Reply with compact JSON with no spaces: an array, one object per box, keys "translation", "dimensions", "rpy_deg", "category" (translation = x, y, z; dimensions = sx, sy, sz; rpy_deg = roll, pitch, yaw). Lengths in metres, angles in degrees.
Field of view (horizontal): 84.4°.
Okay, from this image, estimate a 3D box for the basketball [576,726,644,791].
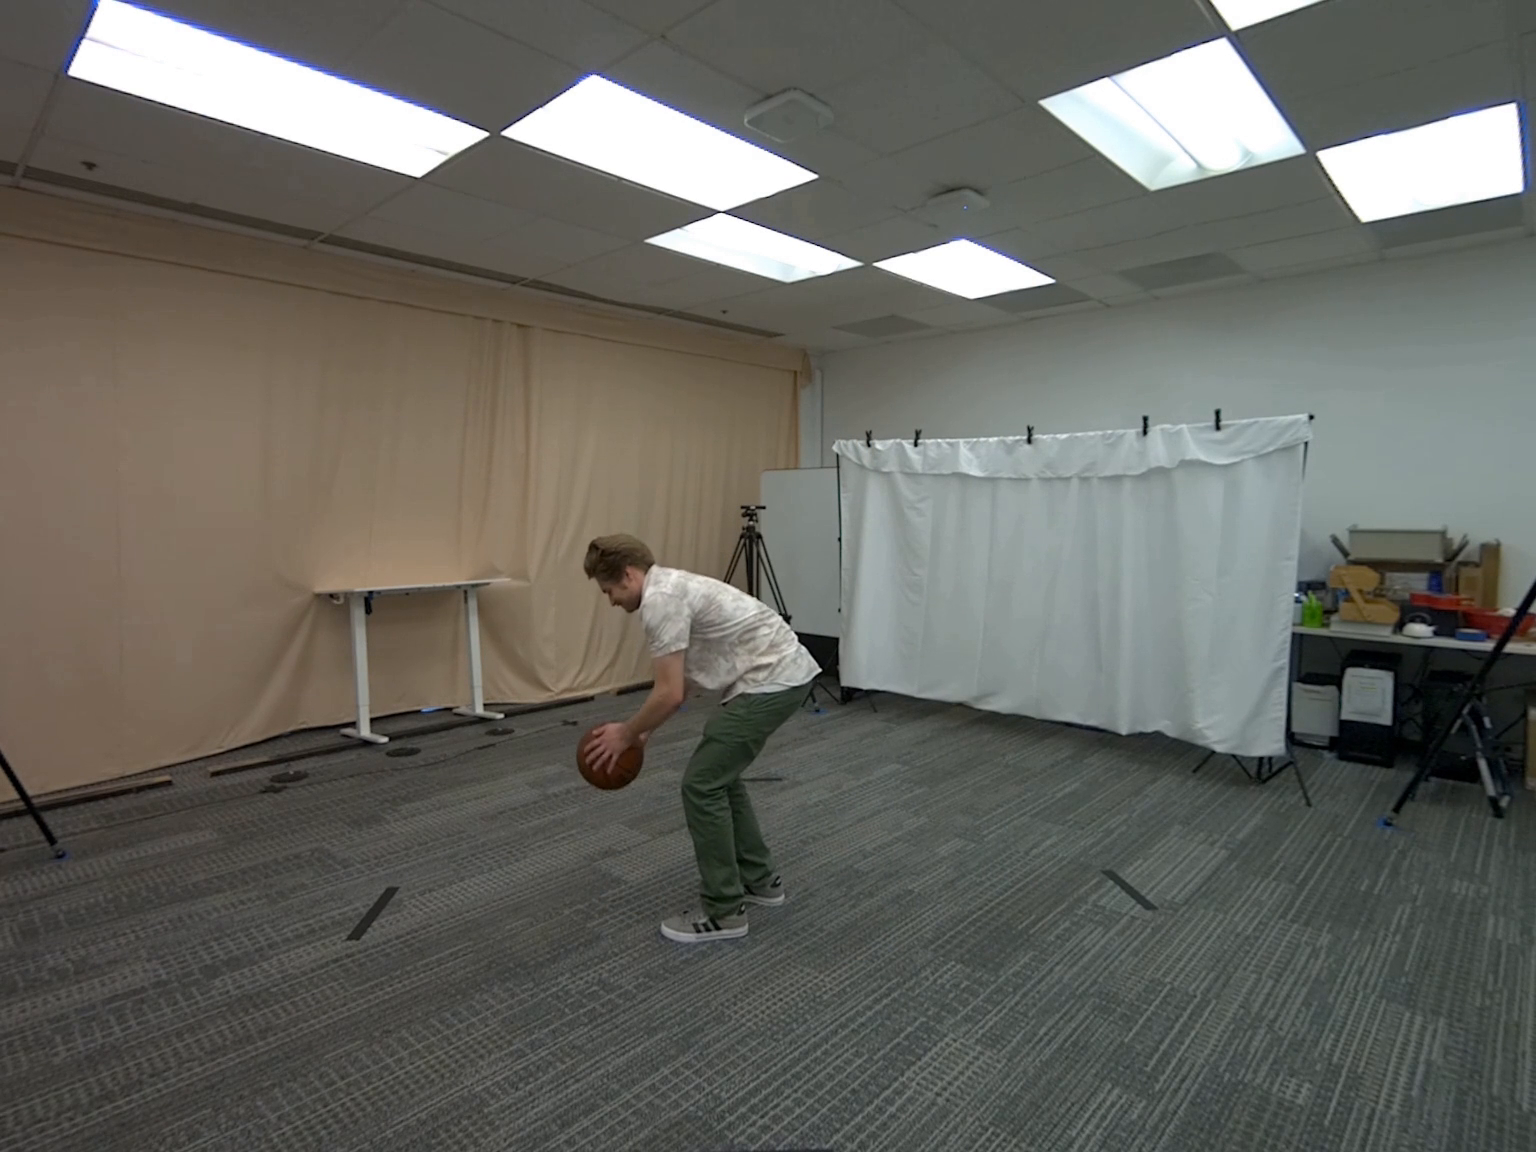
[{"translation":[-0.550,0.633,2.978],"dimensions":[0.236,0.235,0.237],"rpy_deg":[0,4,-2],"category":"basketball"}]
